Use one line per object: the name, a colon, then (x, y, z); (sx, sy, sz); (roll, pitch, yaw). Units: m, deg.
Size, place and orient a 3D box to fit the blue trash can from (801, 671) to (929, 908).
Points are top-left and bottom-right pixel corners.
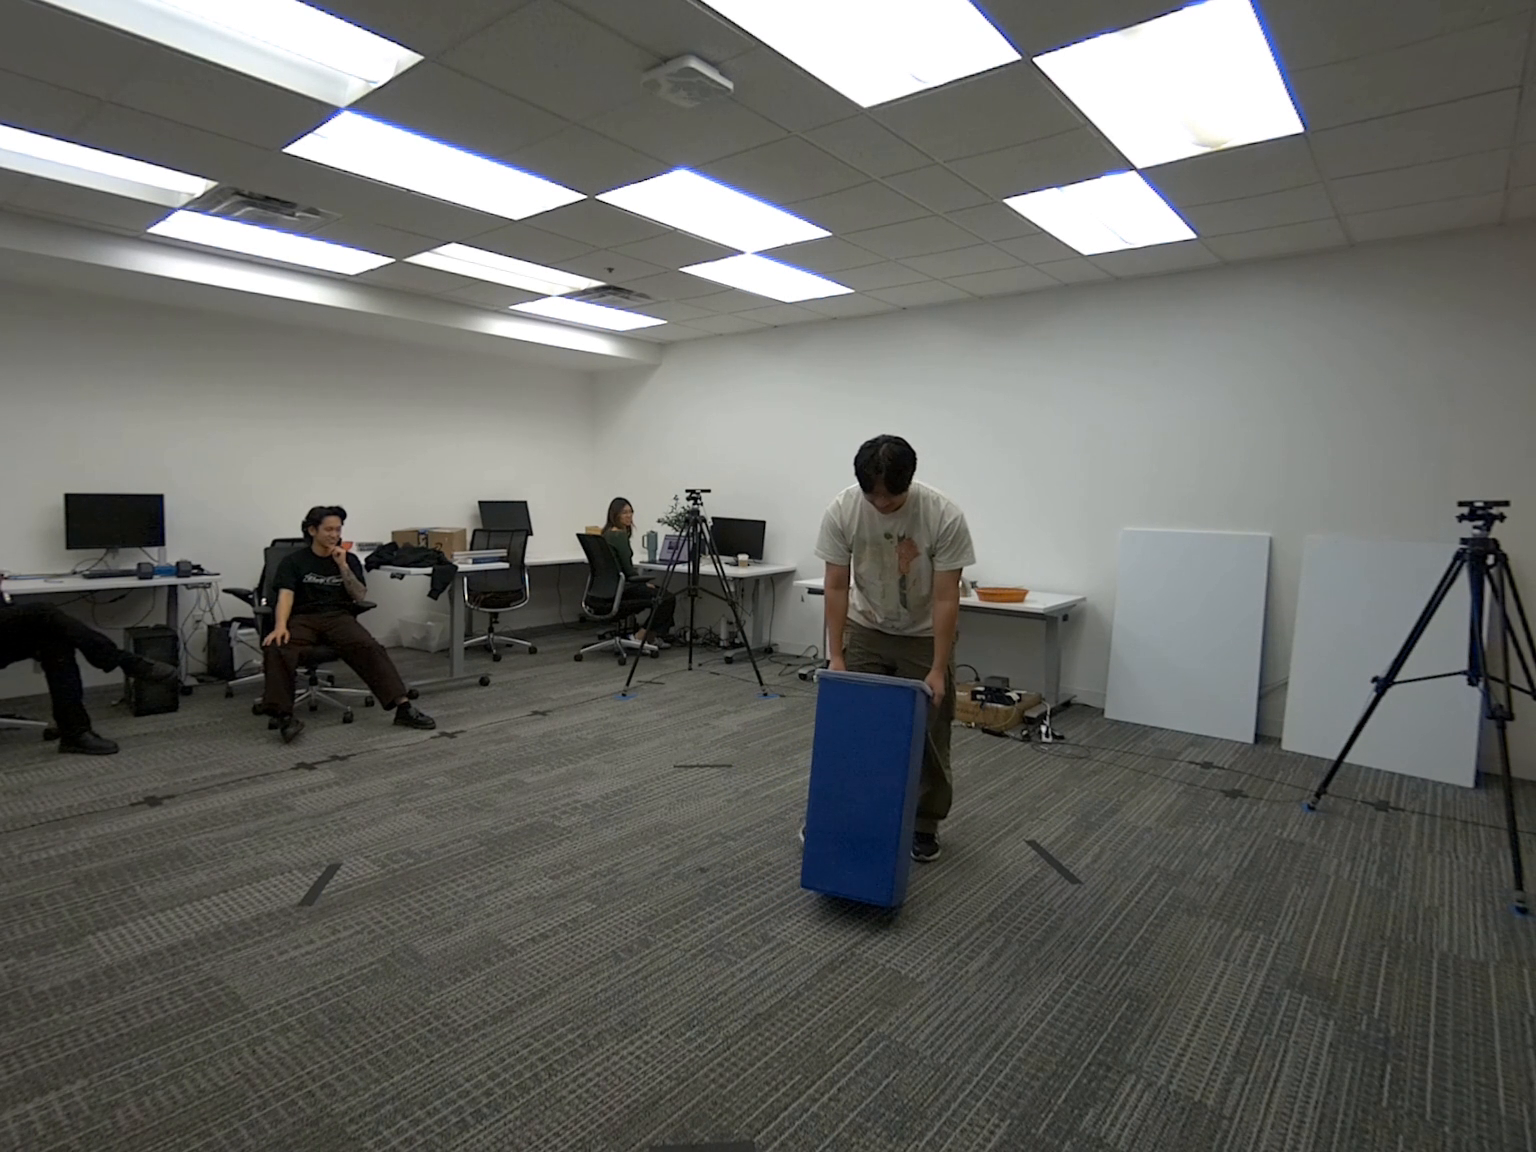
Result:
blue trash can: (0.329, 0.717, 2.928); (0.386, 0.722, 0.361); (3, -16, 19)
